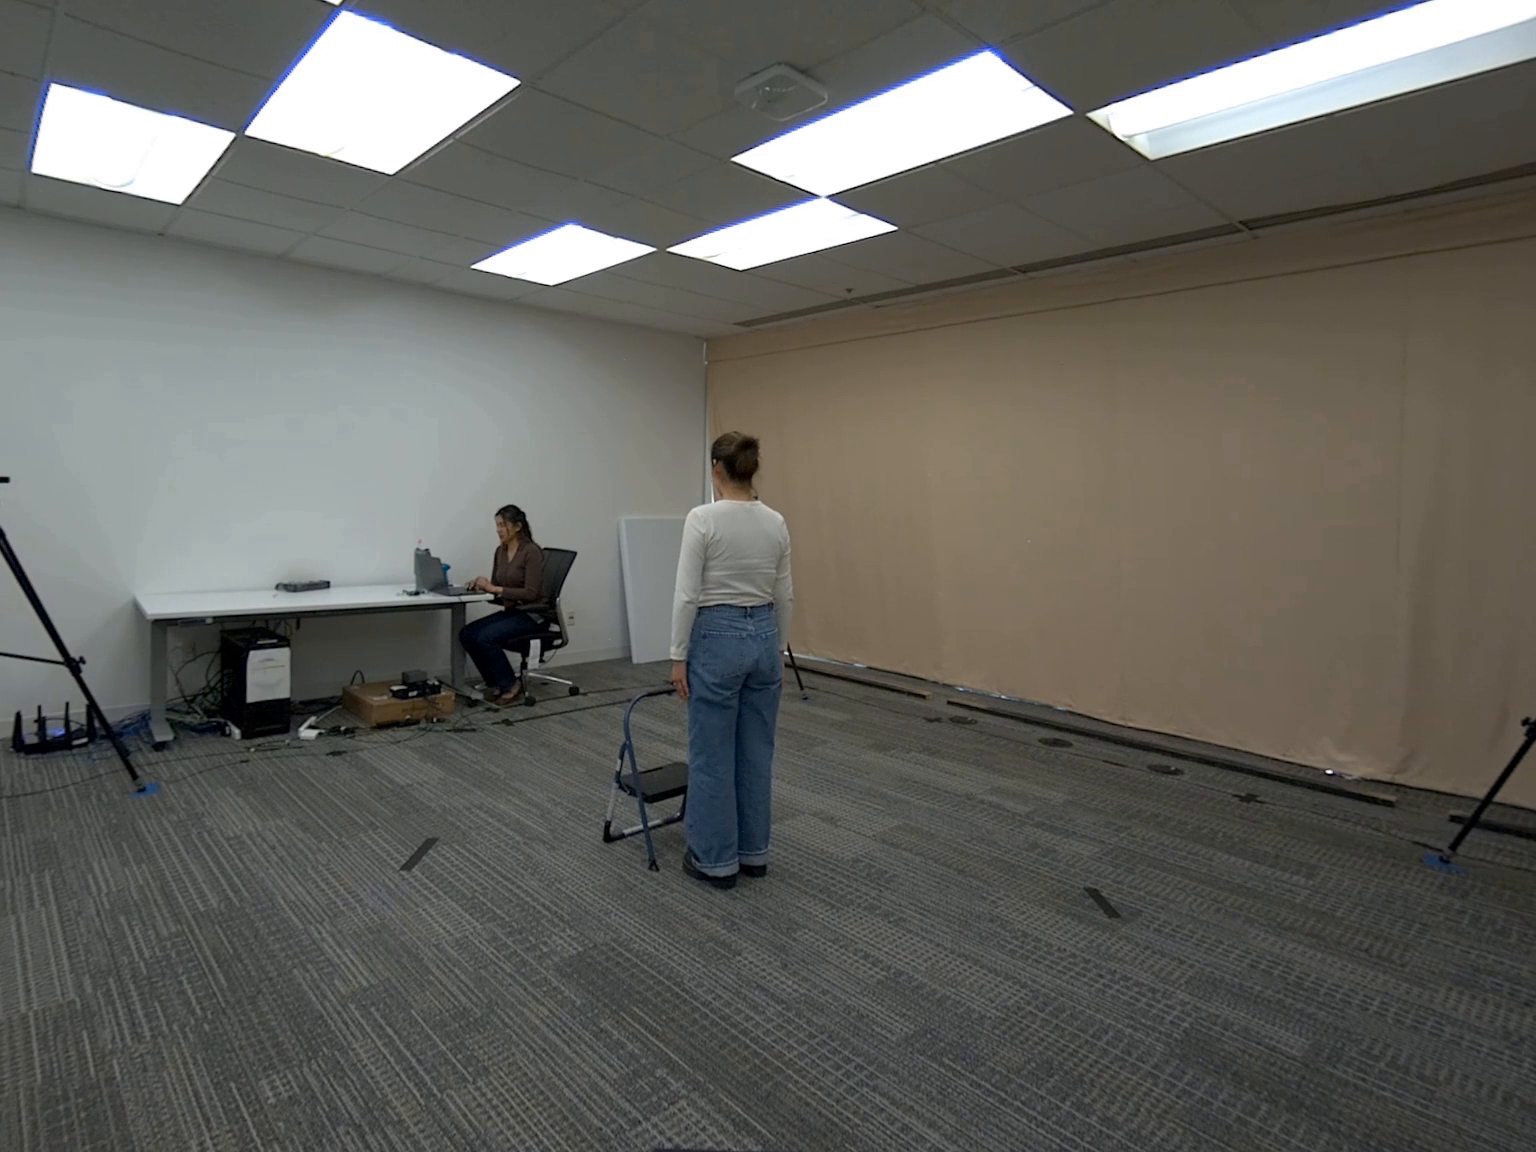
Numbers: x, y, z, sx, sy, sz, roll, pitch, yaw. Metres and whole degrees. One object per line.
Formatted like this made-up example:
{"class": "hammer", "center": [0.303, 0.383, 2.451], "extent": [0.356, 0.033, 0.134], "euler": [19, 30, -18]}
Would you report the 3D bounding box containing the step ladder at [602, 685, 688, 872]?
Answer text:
{"class": "step ladder", "center": [-0.393, 0.768, 3.369], "extent": [0.421, 0.604, 0.358], "euler": [-2, 5, -45]}
